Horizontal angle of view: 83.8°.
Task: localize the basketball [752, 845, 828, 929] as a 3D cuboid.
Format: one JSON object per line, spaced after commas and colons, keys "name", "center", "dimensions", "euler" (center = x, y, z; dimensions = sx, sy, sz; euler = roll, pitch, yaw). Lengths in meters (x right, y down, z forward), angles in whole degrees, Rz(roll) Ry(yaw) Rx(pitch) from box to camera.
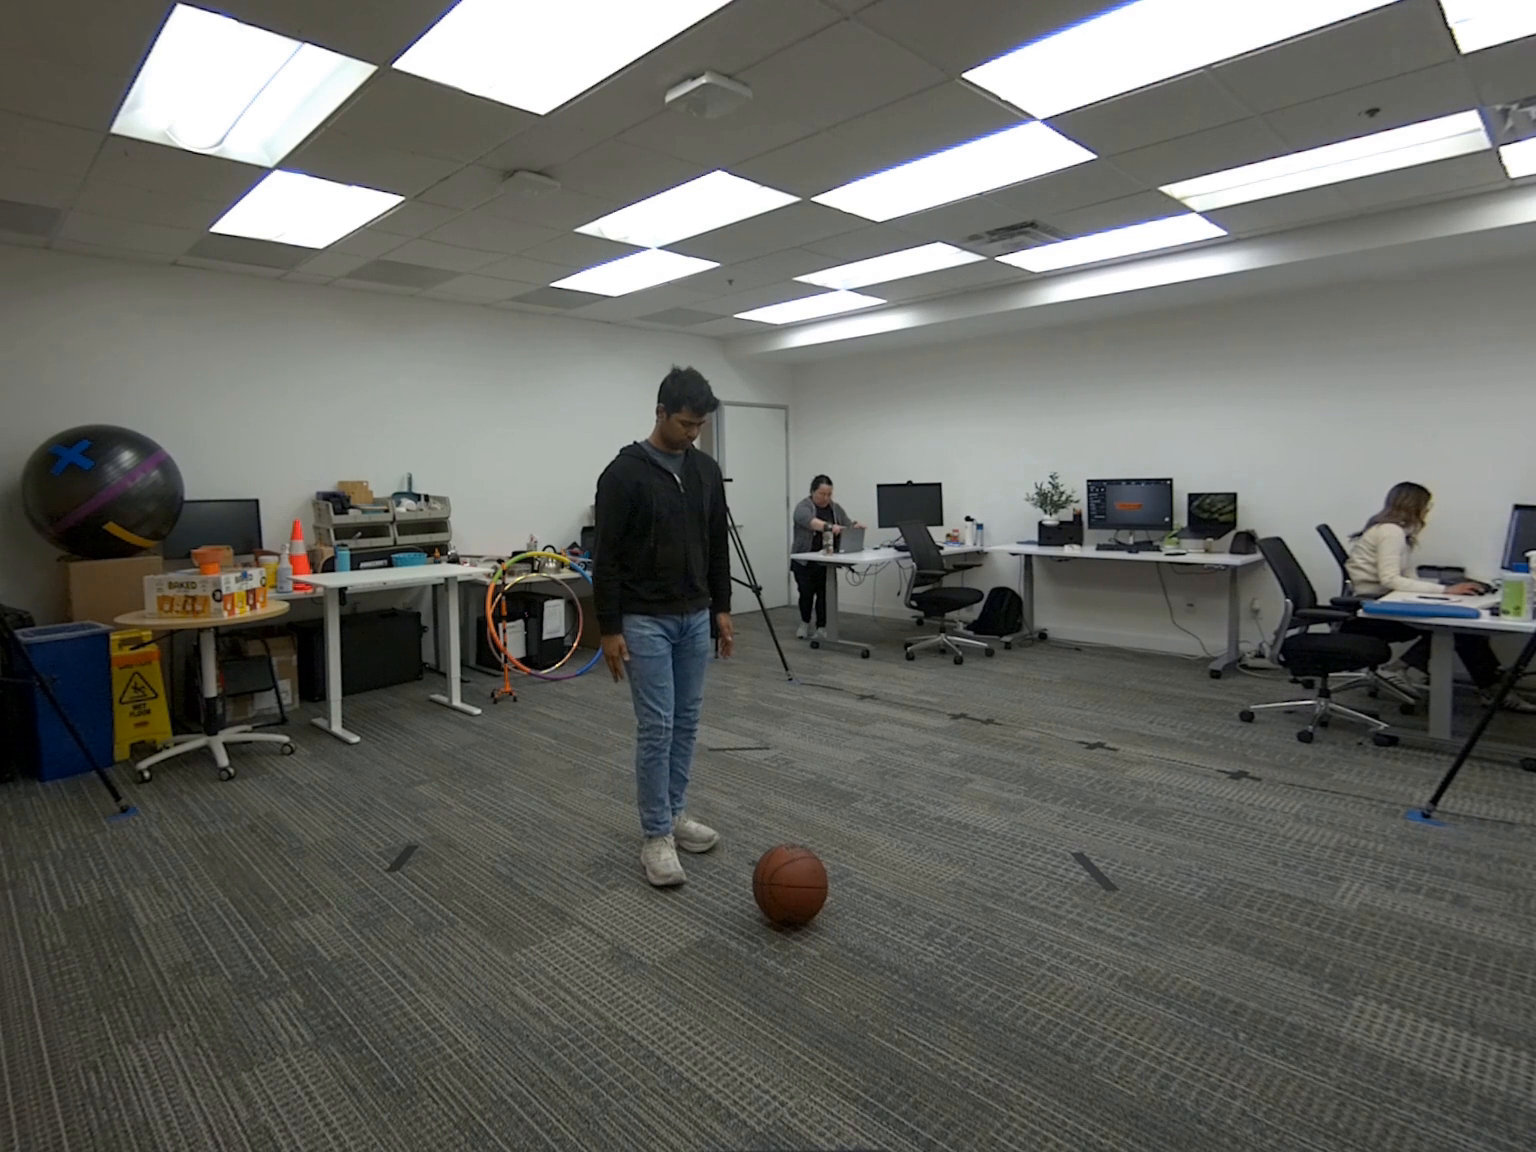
{"name": "basketball", "center": [0.070, 0.968, 2.695], "dimensions": [0.236, 0.235, 0.237], "euler": [-1, 5, -2]}
